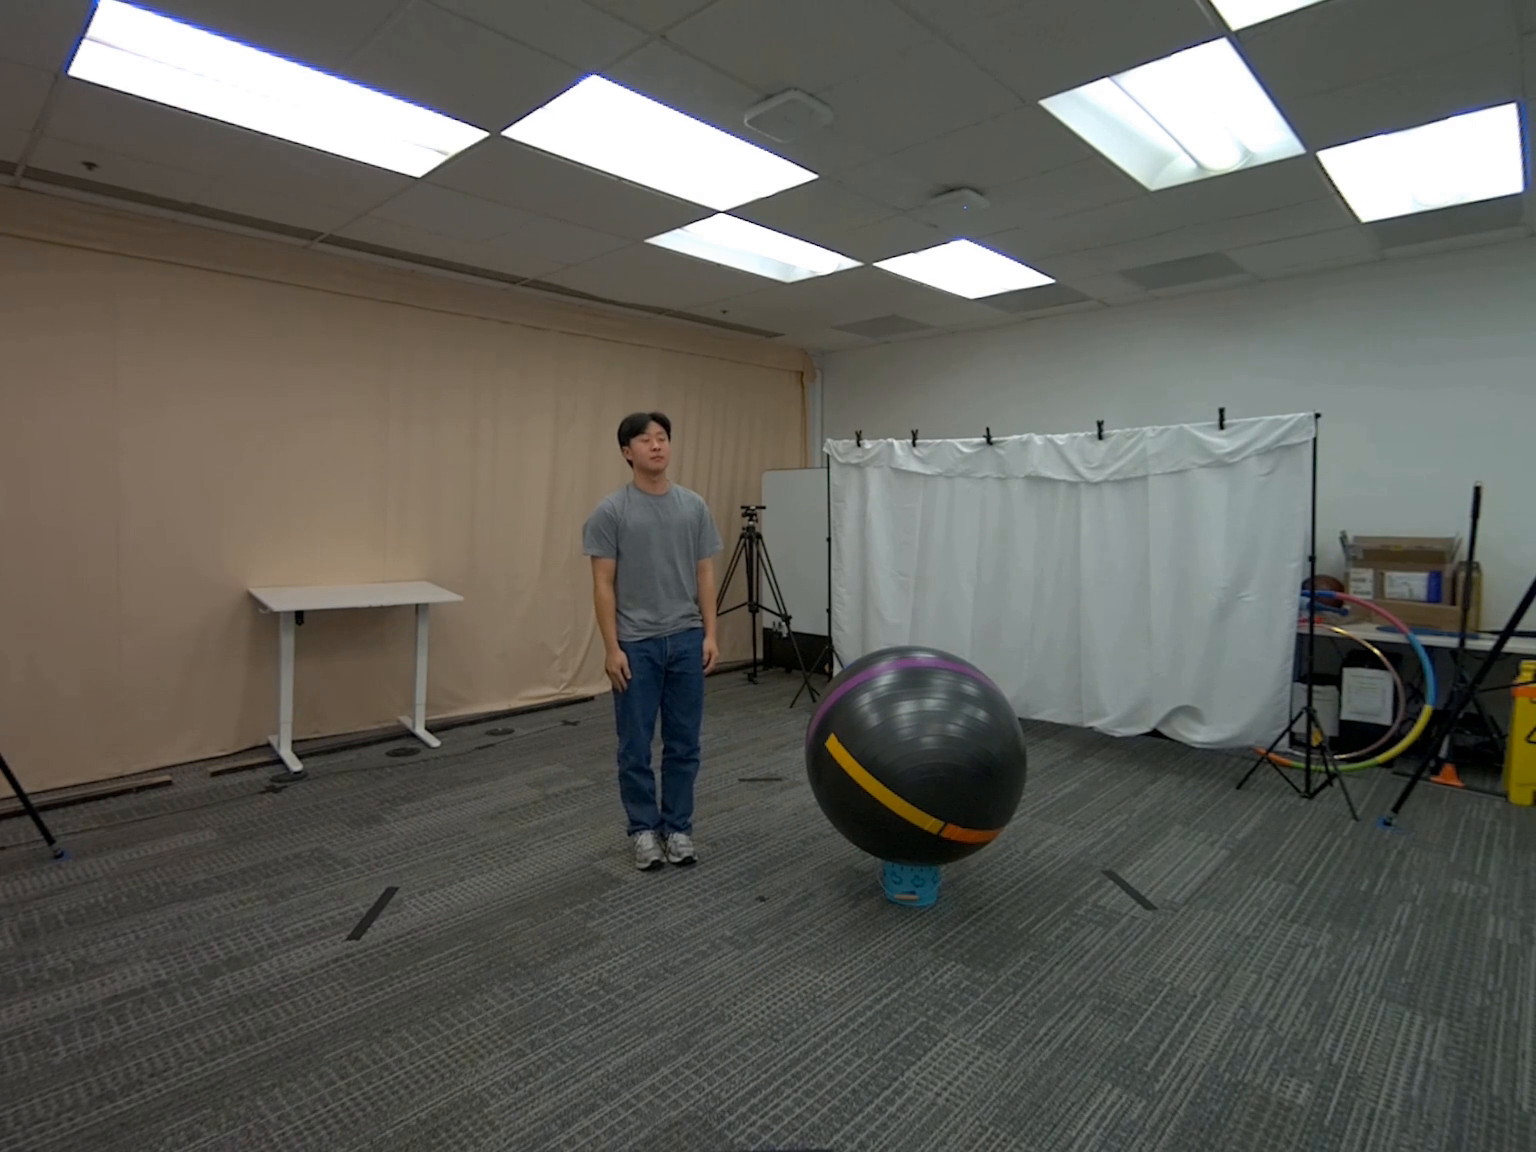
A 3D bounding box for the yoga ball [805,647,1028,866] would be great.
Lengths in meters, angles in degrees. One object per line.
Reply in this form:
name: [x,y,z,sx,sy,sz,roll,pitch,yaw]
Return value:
yoga ball: [0.522,0.632,2.985,0.757,0.756,0.761,0,4,-2]
